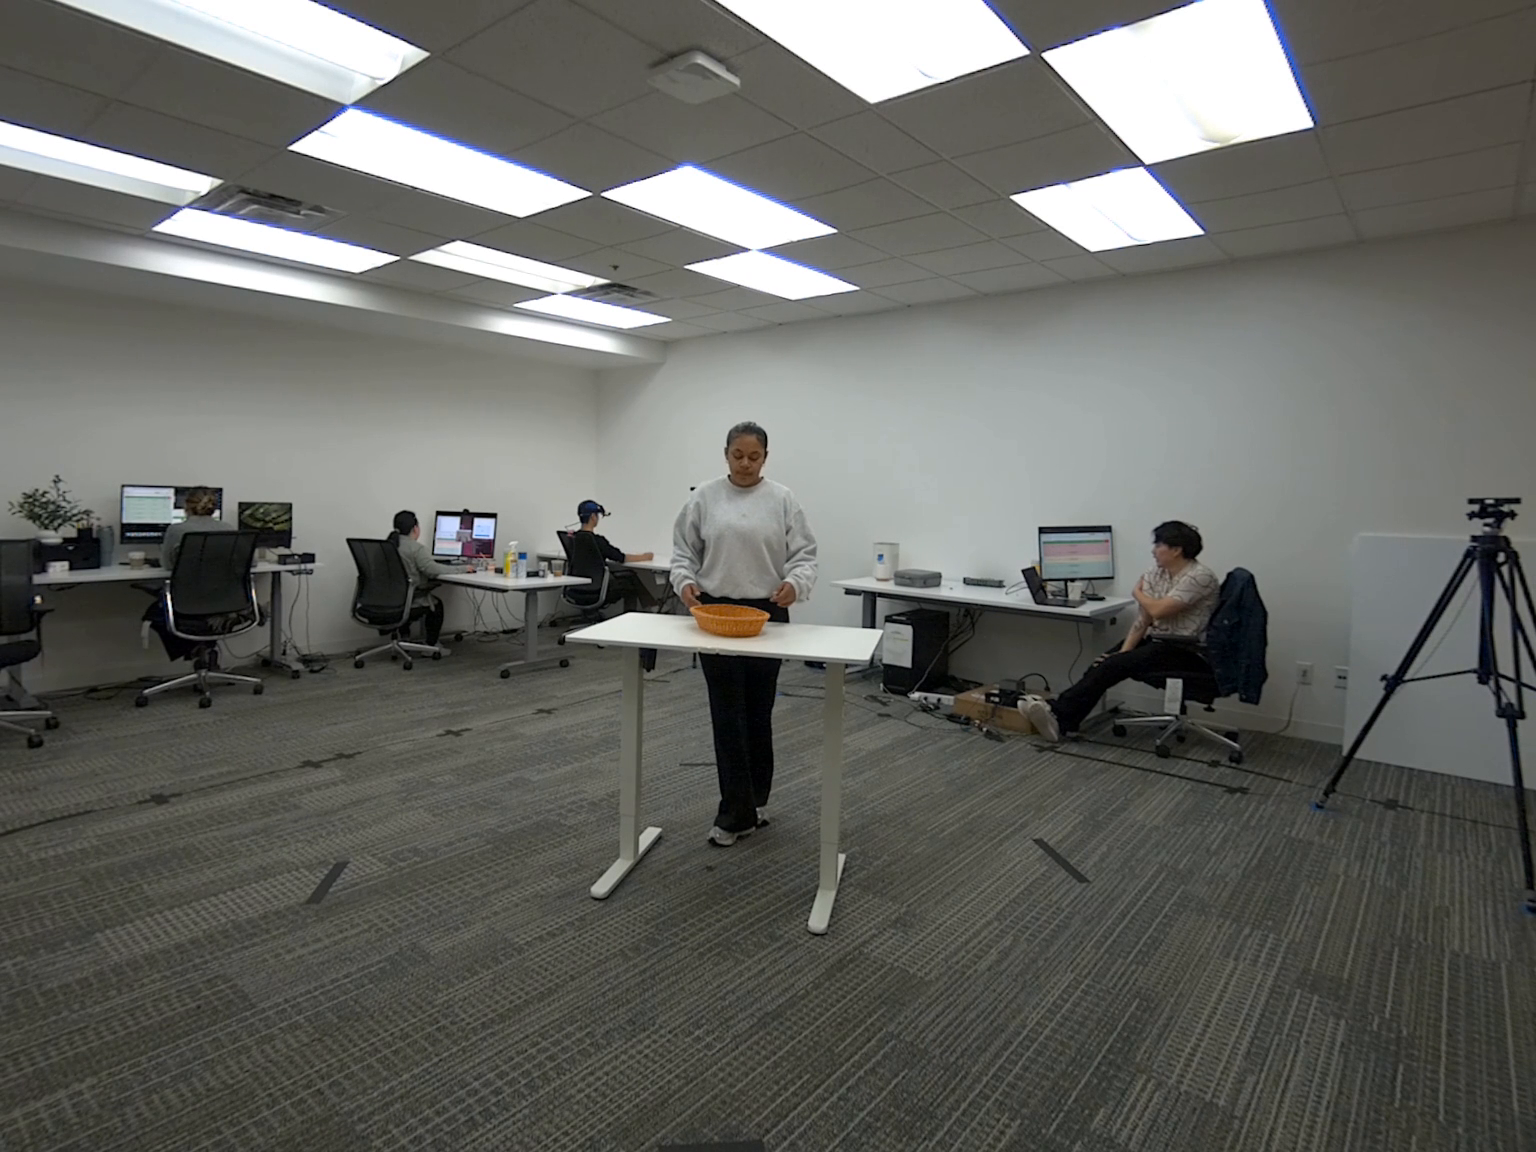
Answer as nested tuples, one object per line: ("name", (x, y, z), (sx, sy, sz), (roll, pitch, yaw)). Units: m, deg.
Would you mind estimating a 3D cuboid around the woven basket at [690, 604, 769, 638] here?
("woven basket", (-0.147, 0.161, 3.041), (0.247, 0.073, 0.359), (-2, 6, -22))
